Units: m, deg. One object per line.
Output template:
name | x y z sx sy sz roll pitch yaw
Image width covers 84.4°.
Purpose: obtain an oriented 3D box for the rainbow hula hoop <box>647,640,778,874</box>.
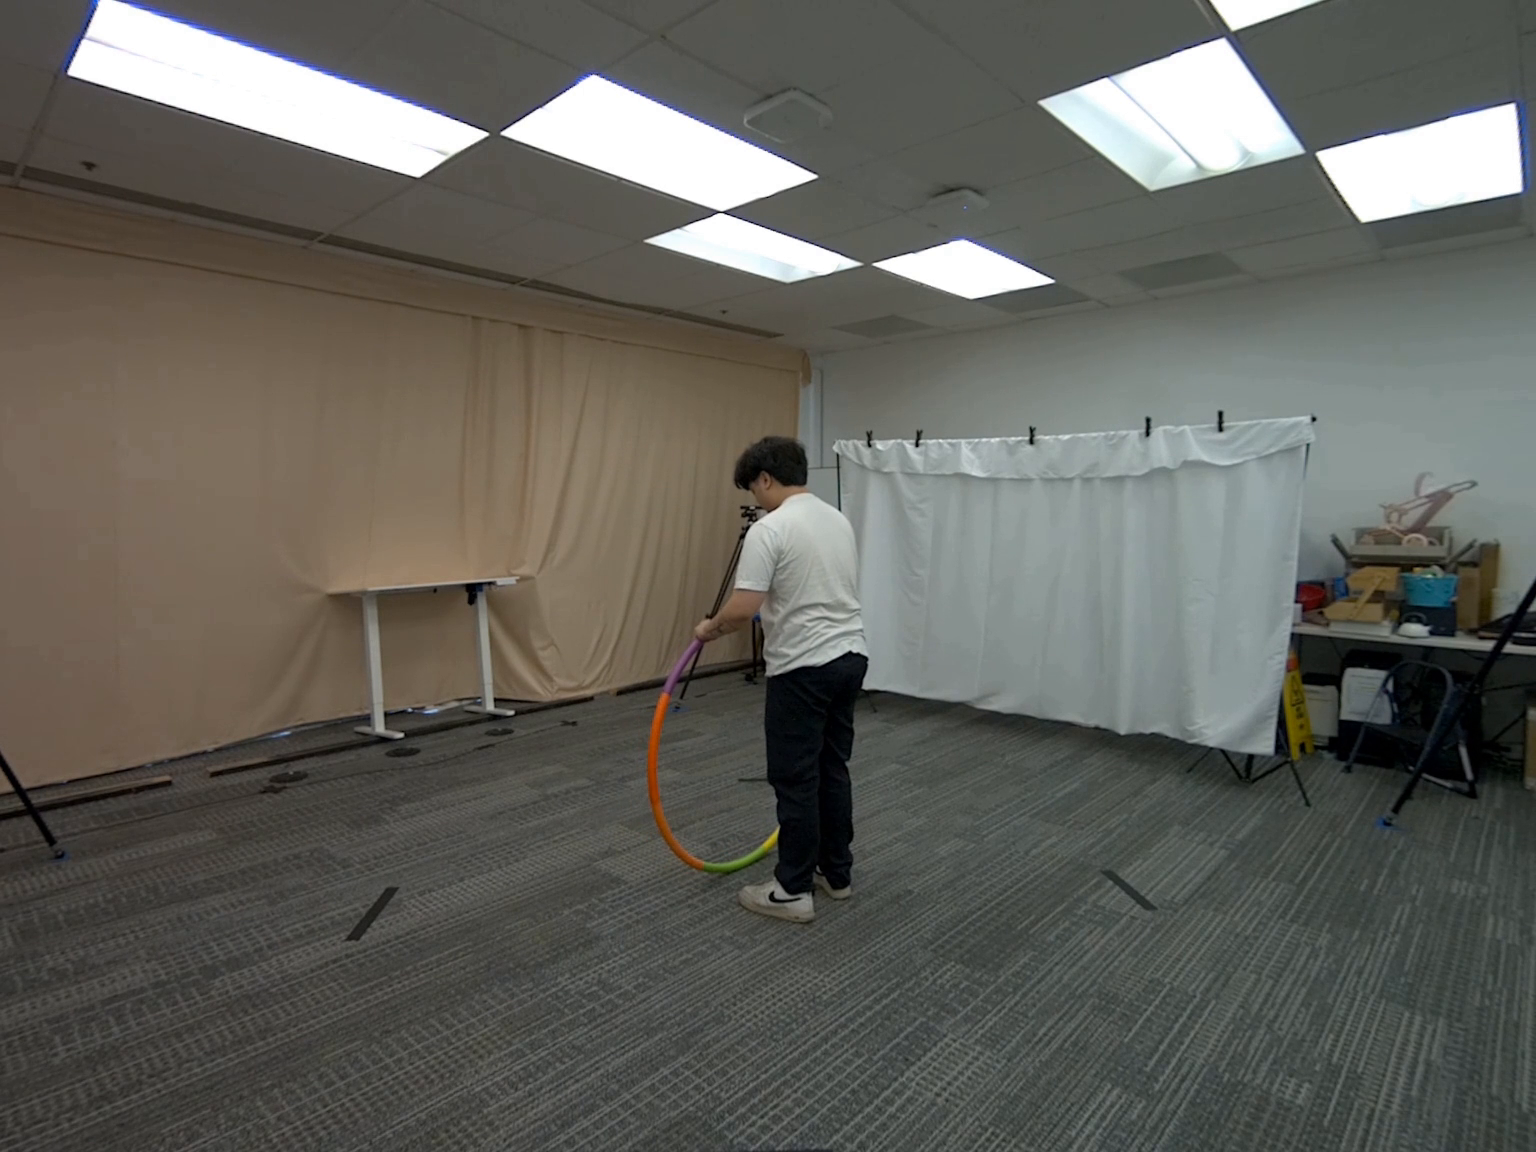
rainbow hula hoop | -0.093 0.631 3.221 0.053 0.983 0.955 4 5 42
